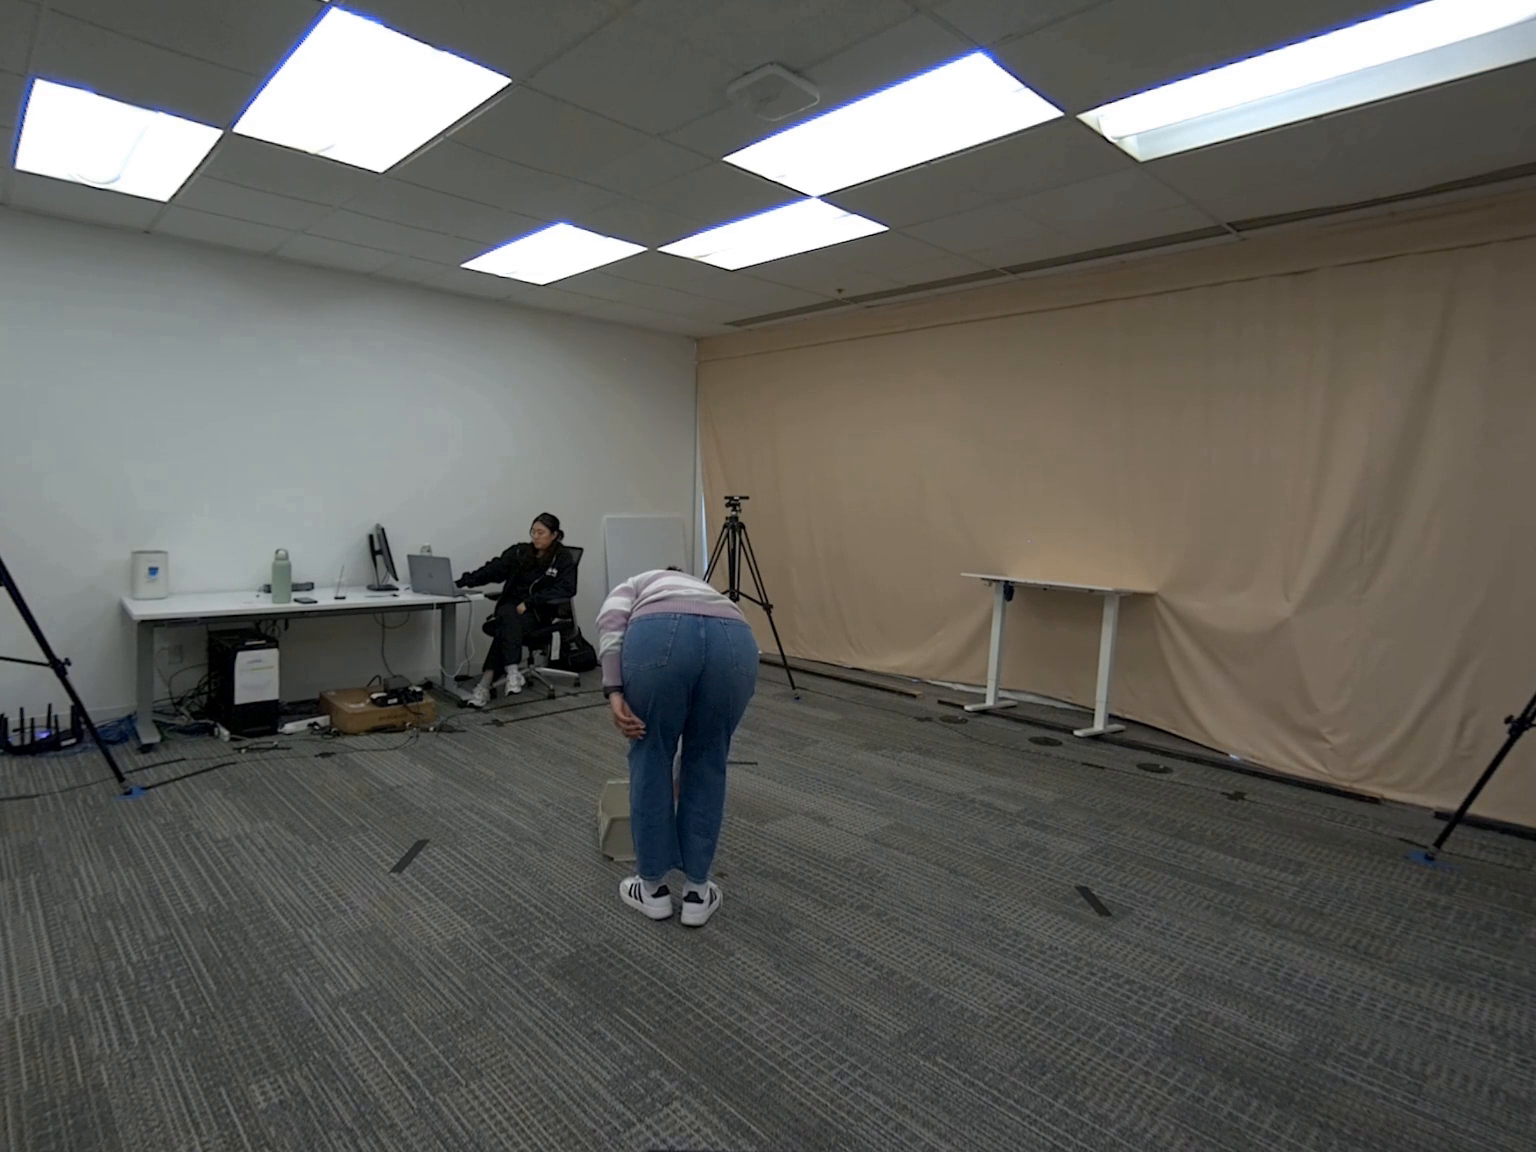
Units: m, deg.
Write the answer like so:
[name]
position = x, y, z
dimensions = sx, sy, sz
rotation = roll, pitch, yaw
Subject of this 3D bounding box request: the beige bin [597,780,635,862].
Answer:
[beige bin]
position = -0.499, 0.979, 3.416
dimensions = 0.374, 0.188, 0.427
rotation = 1, 4, -12
